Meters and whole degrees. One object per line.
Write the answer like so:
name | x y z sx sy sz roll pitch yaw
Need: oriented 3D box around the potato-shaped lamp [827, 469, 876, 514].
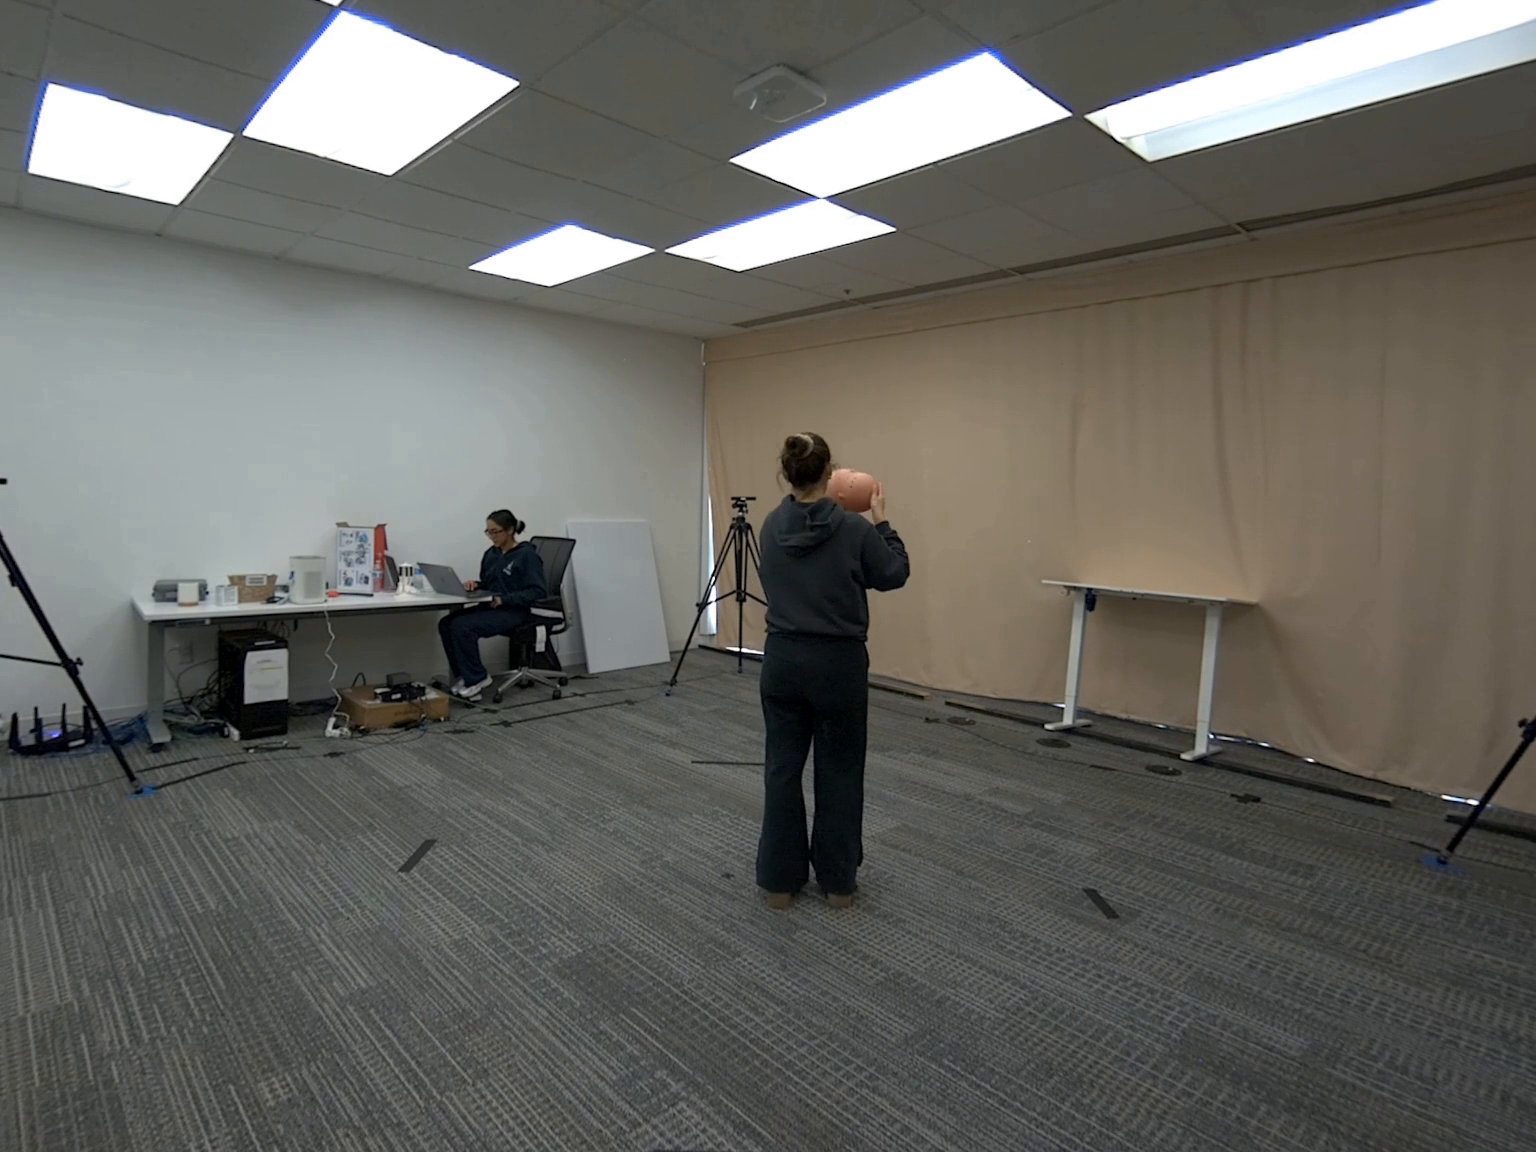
potato-shaped lamp | 0.305 -0.308 3.098 0.202 0.161 0.172 -3 38 42
